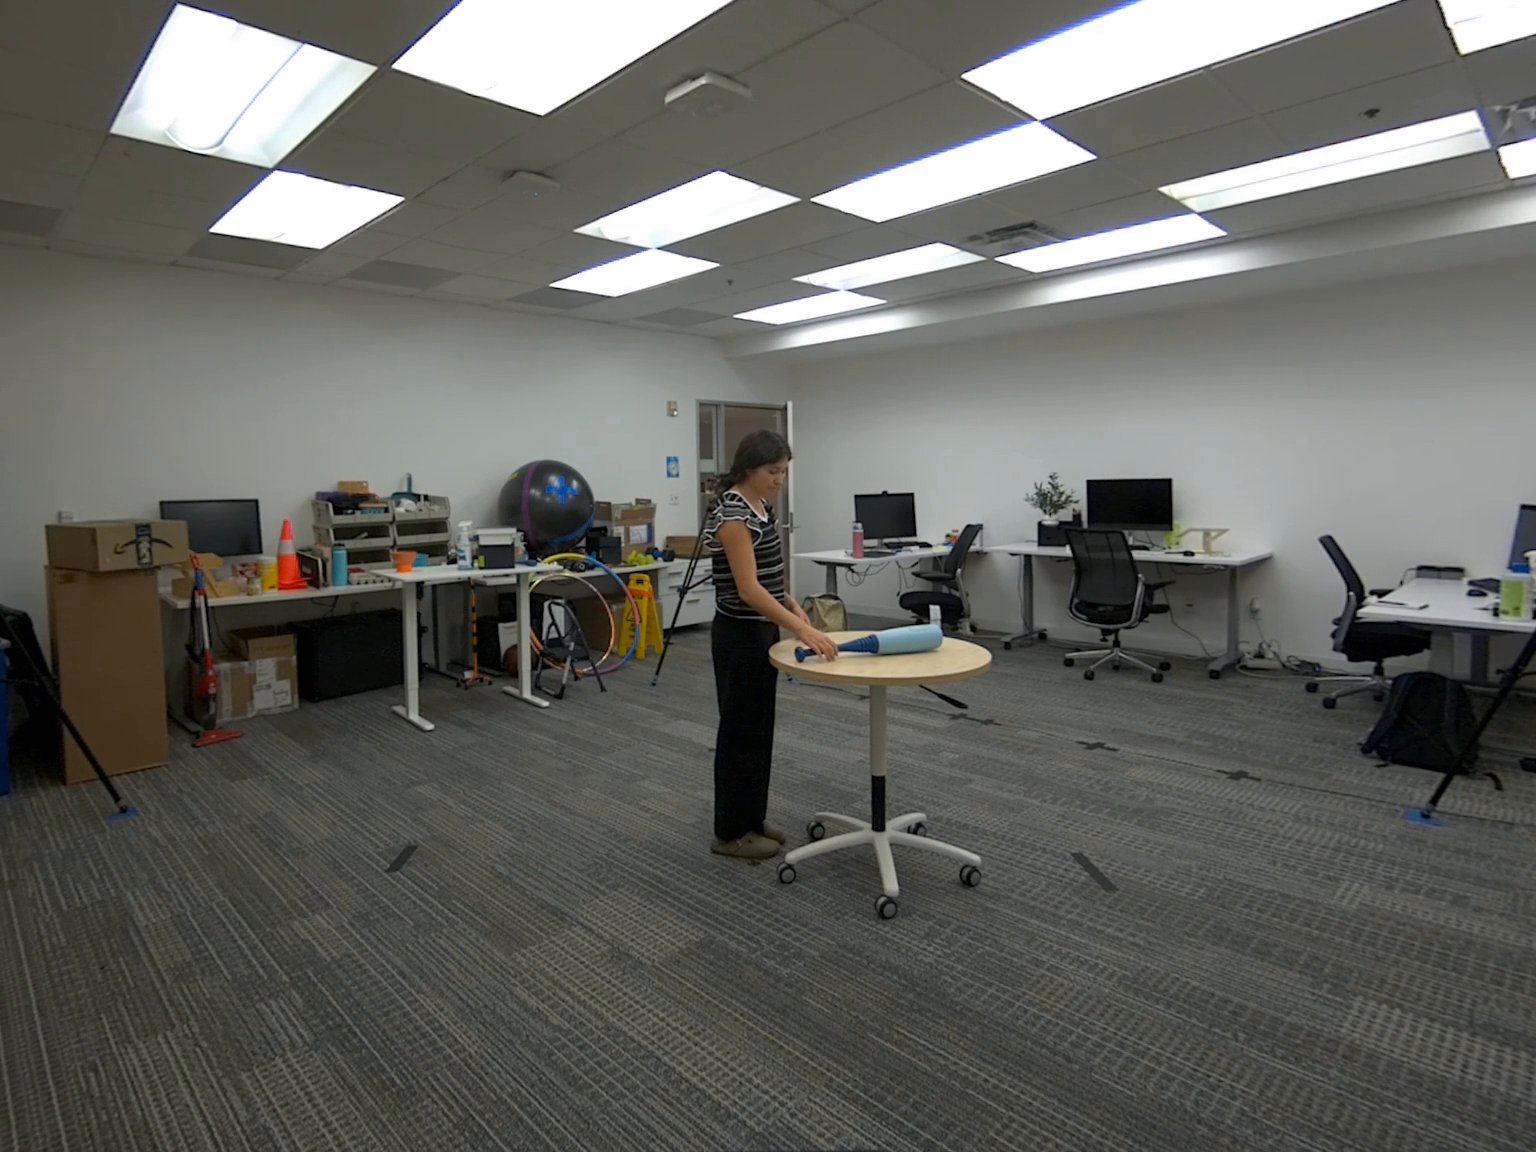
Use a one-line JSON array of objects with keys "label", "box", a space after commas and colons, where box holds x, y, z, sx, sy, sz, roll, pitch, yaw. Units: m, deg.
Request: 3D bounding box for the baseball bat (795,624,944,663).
[{"label": "baseball bat", "box": [0.354, 0.239, 2.925, 0.534, 0.088, 0.091, -7, 7, -20]}]
